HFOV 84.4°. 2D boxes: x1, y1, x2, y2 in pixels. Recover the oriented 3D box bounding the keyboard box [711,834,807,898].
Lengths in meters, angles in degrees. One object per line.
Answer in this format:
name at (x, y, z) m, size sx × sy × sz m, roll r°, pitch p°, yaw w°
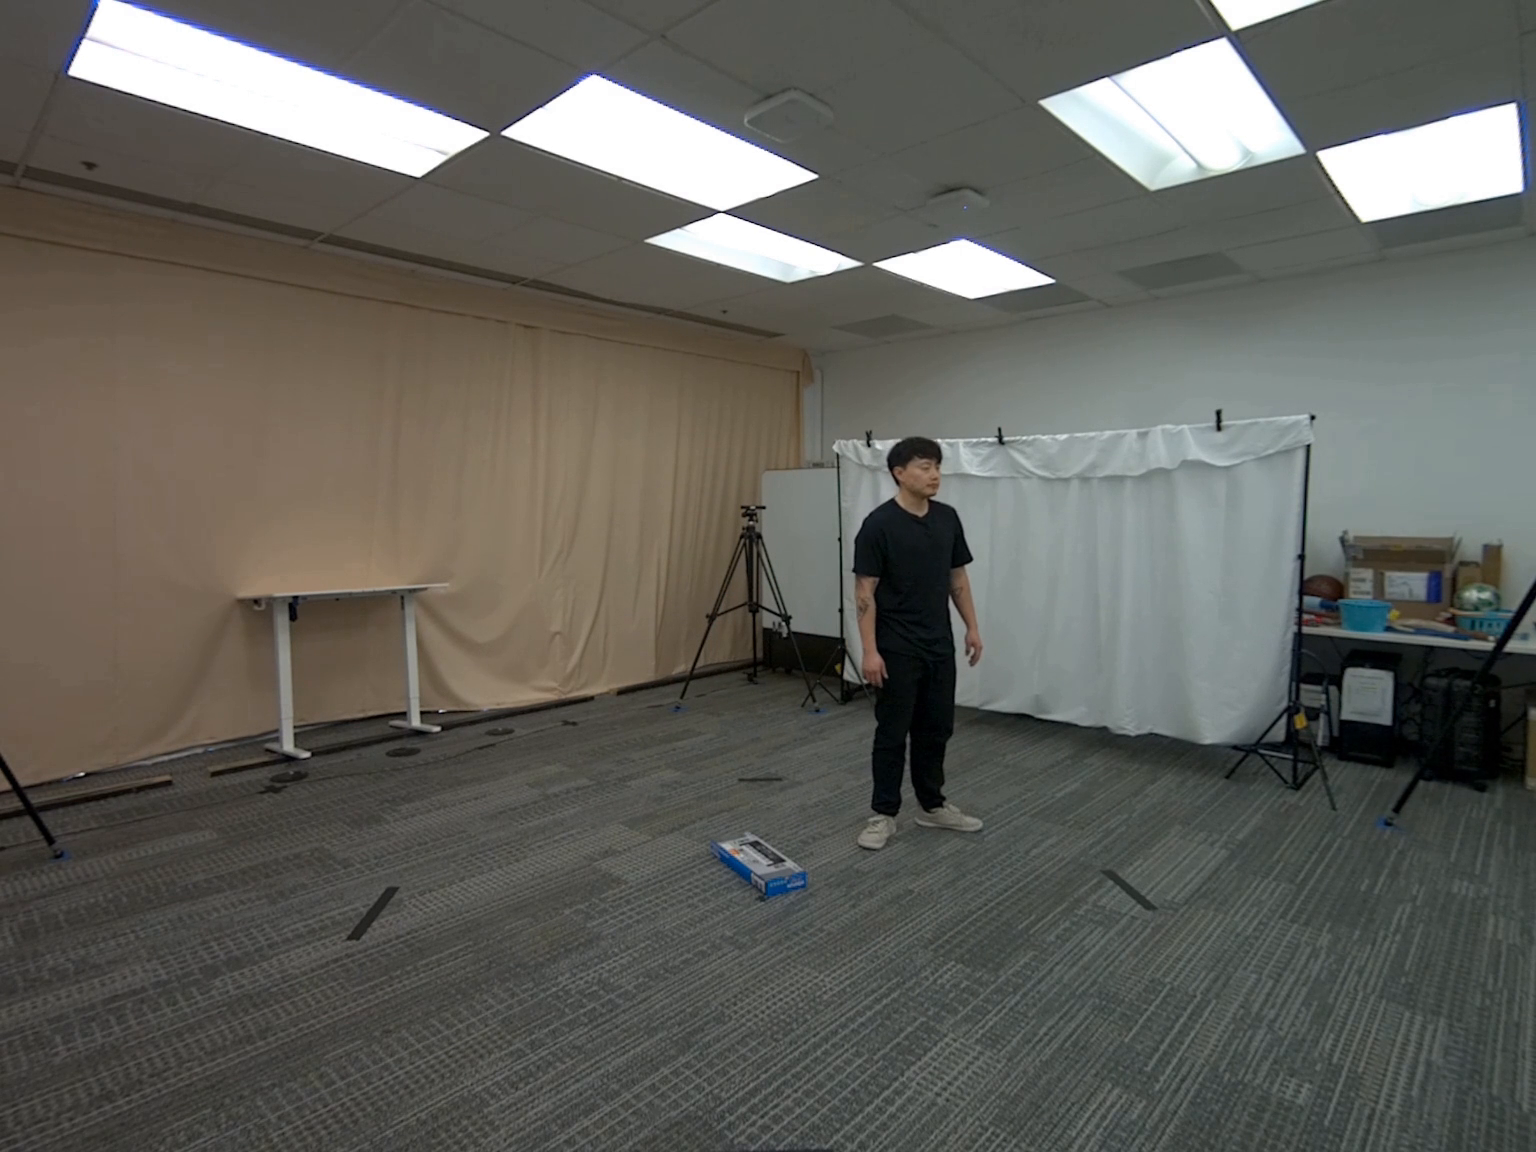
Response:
keyboard box at (-0.045, 1.091, 3.221) m, size 0.171 × 0.059 × 0.449 m, roll -4°, pitch 6°, yaw -30°
